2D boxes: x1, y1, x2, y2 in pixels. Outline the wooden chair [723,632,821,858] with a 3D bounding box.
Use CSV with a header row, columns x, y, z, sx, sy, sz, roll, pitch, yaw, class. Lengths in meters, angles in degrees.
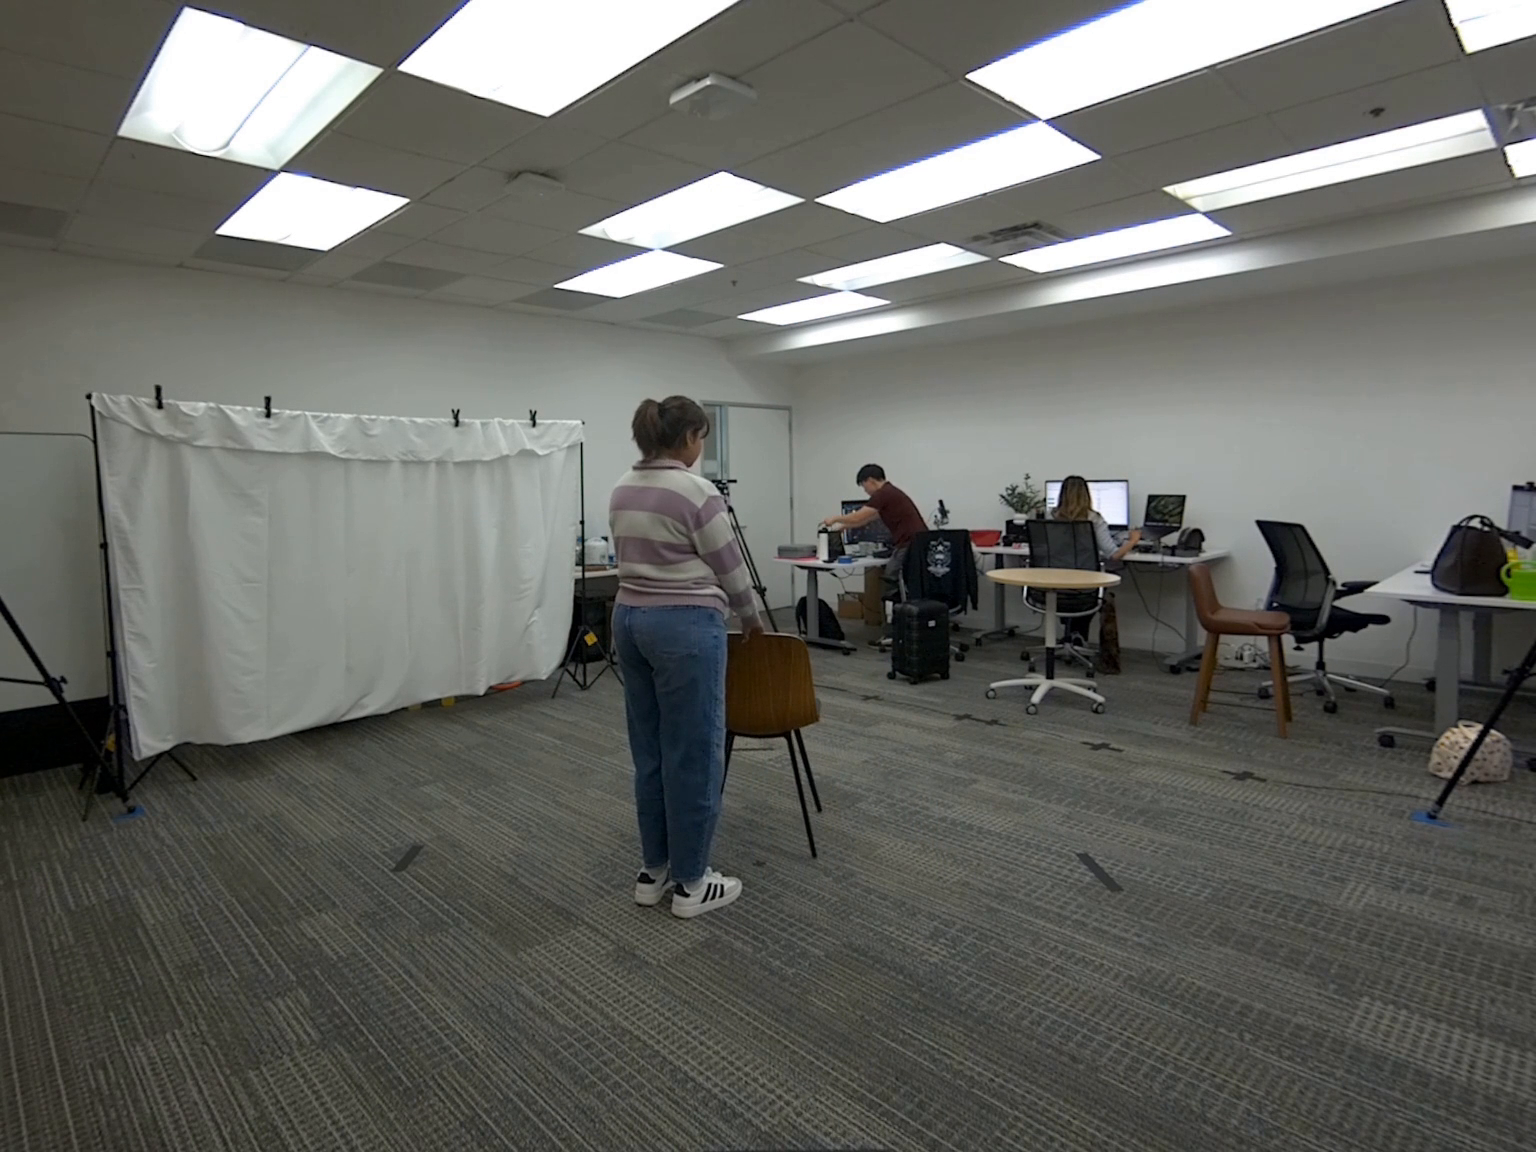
x,y,z,sx,sy,sz,roll,pitch,yaw,class
-0.028,0.589,3.374,0.482,0.871,0.523,0,8,7,wooden chair
